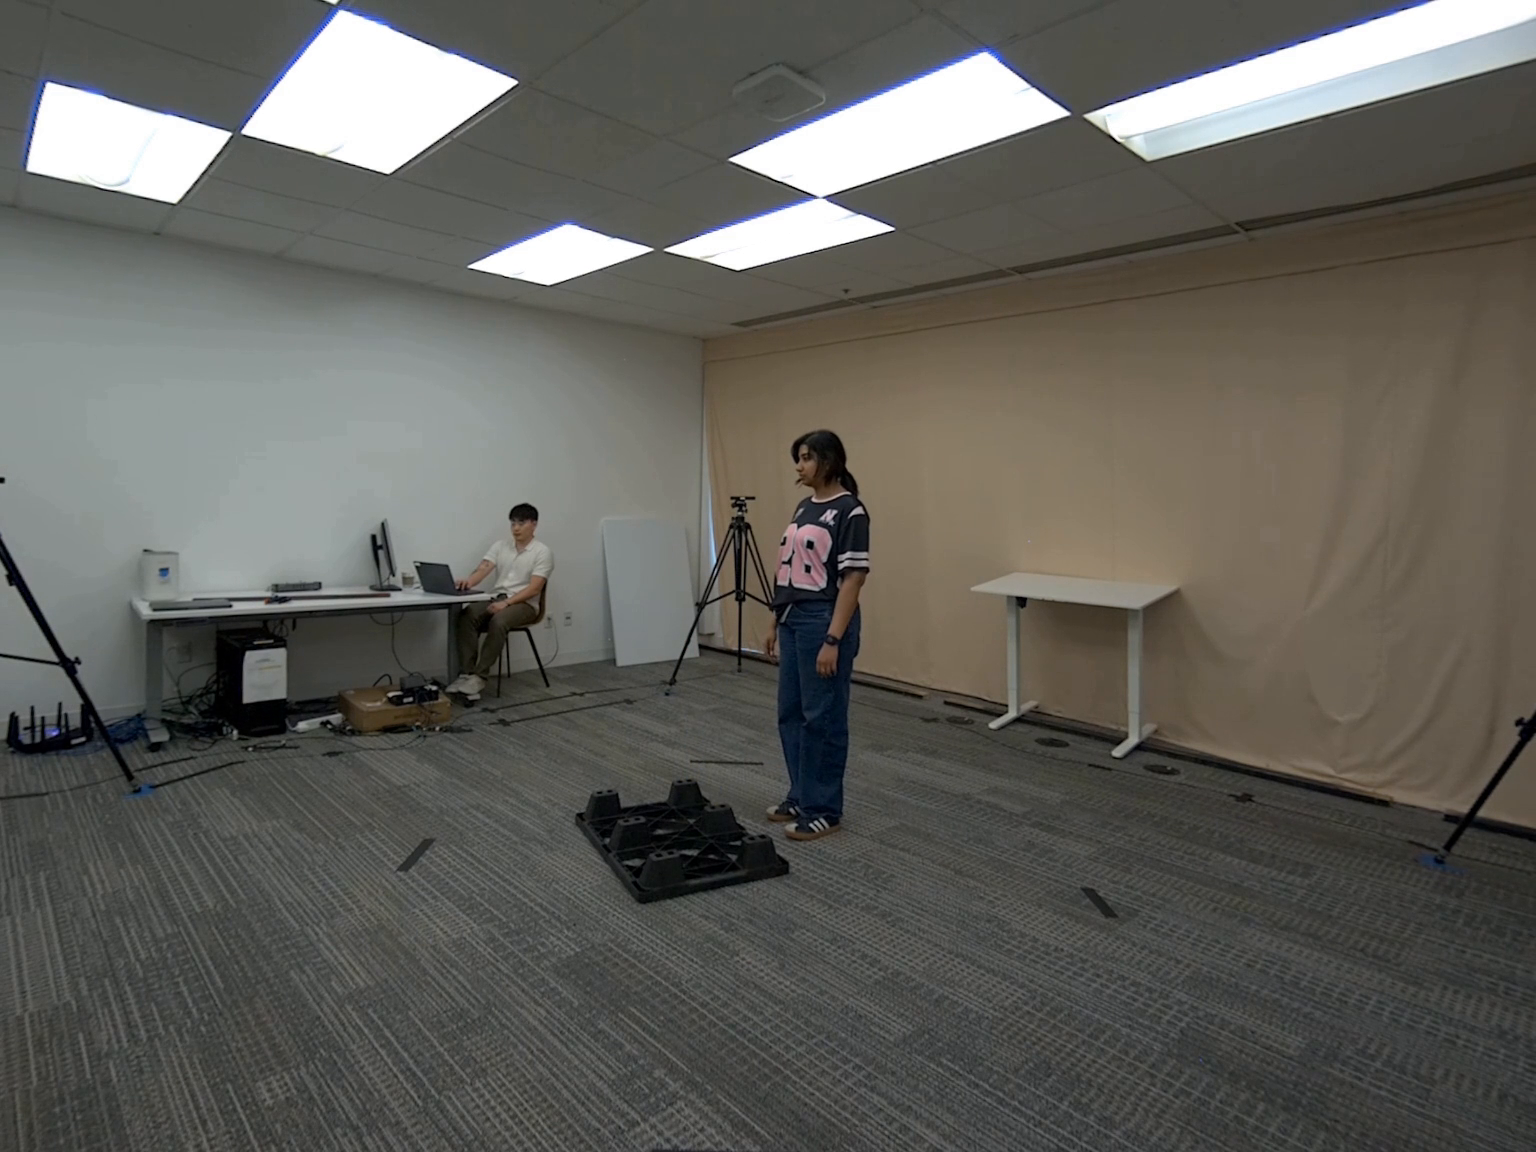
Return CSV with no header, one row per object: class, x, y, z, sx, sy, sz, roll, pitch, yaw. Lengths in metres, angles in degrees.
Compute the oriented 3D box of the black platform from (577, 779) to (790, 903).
black platform,-0.368,1.012,3.341,0.593,0.143,0.824,-2,6,-28
